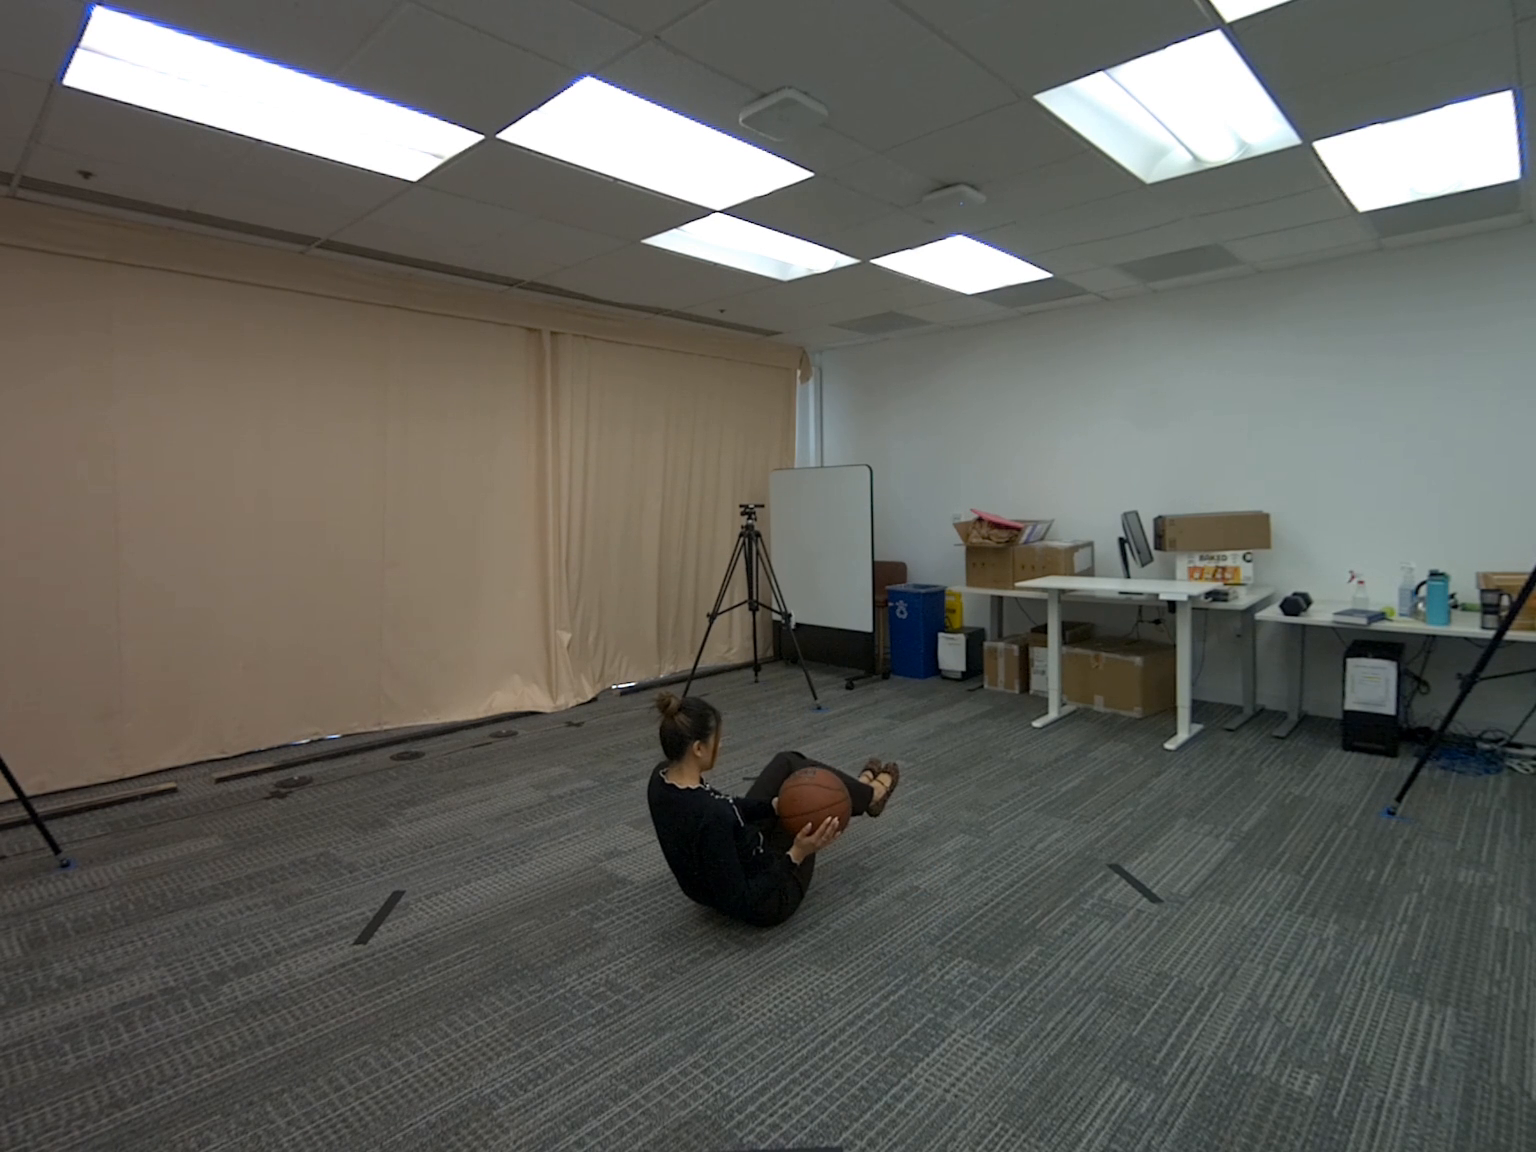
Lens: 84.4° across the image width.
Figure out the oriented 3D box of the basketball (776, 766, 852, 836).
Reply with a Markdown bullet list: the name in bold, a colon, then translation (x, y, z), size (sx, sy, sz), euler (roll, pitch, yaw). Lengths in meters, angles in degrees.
- **basketball**: translation (0.152, 0.735, 2.668), size (0.236, 0.235, 0.237), euler (-1, 4, -2)
